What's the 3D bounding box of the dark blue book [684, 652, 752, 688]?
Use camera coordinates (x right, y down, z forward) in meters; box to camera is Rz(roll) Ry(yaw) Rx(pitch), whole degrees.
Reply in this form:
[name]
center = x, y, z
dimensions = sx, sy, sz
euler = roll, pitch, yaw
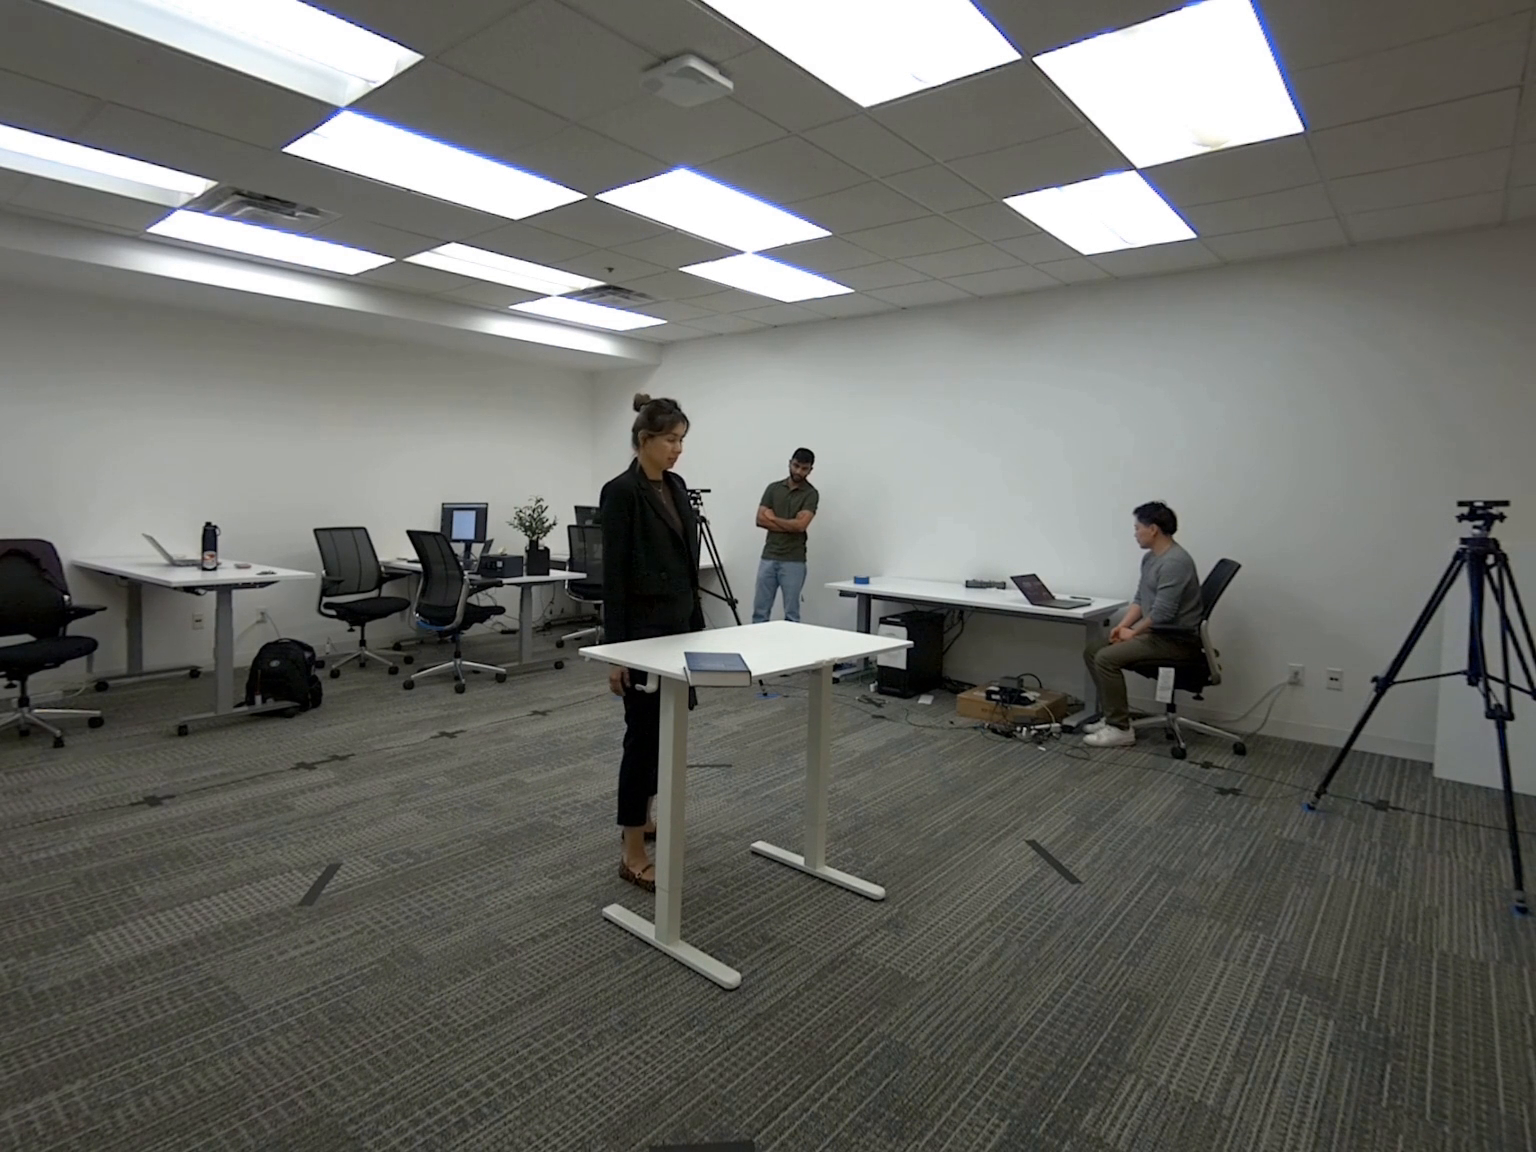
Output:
[dark blue book]
center = -0.142, 0.249, 2.298
dimensions = 0.162, 0.045, 0.248
euler = 1, 6, -7
